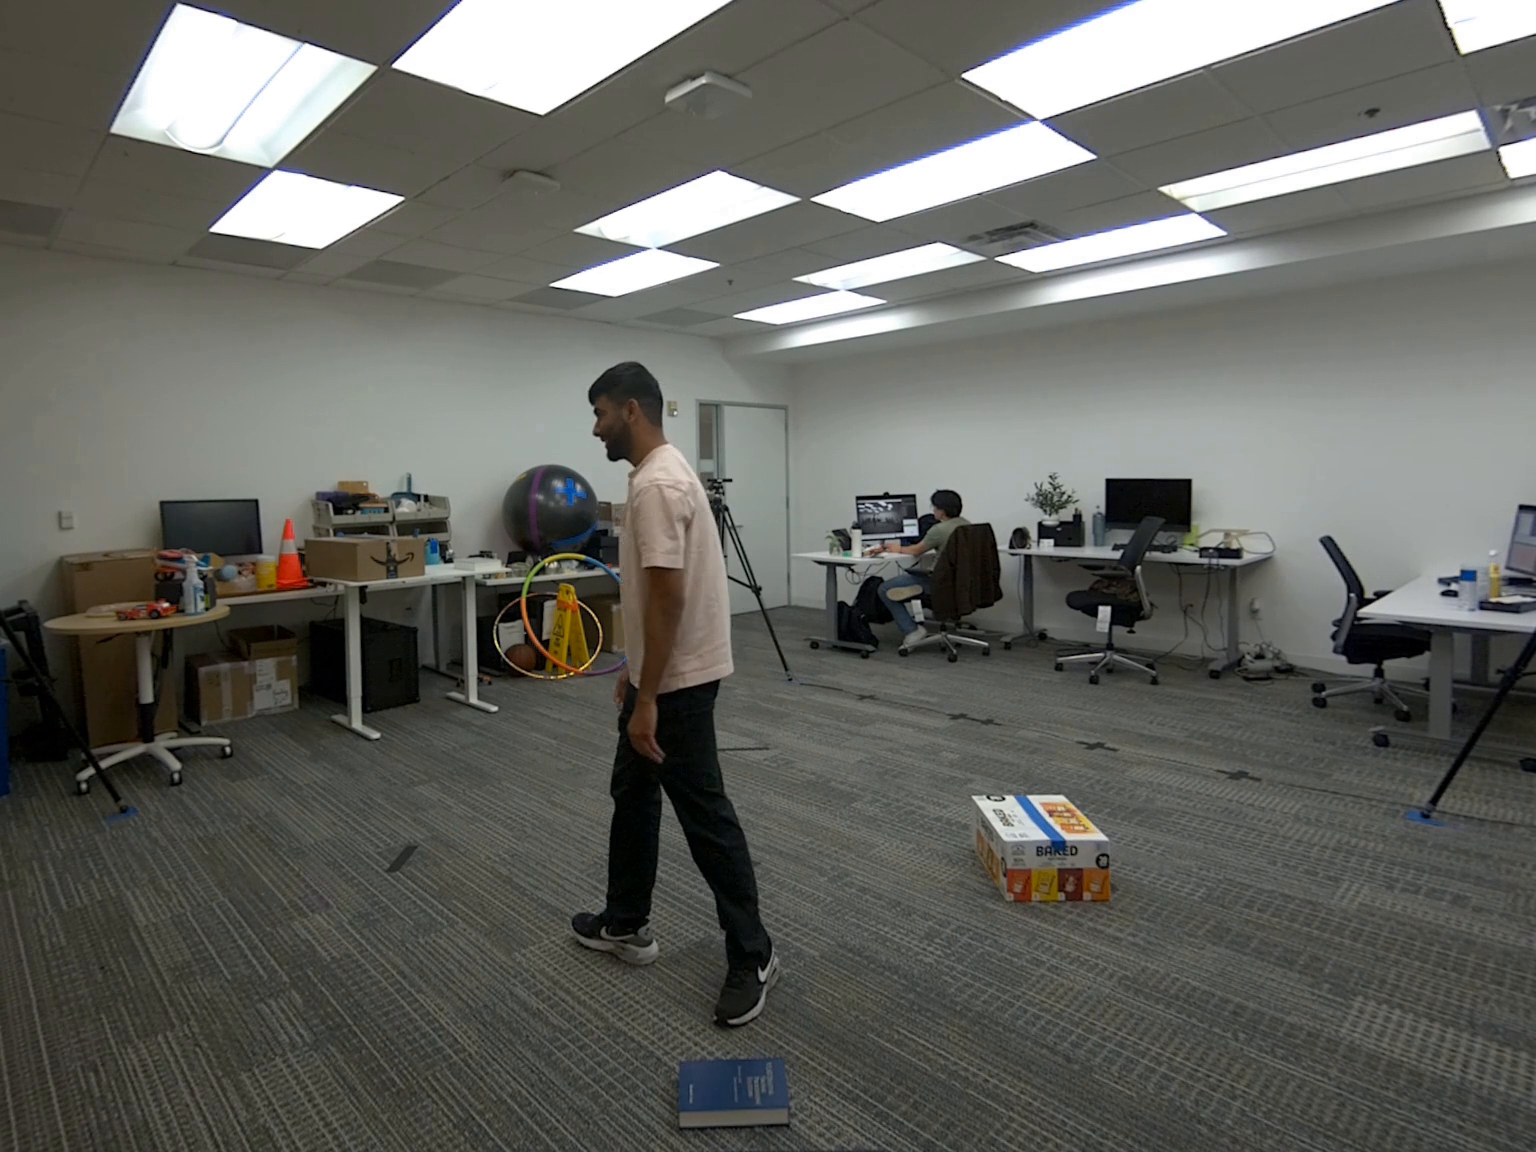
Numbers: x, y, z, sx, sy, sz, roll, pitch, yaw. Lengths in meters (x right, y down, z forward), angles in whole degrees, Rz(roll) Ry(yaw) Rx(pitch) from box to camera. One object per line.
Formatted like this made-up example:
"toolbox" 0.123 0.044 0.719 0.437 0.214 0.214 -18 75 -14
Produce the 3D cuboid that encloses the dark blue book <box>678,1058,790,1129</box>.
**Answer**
"dark blue book" -0.077 1.165 1.923 0.245 0.045 0.164 -2 7 -3
